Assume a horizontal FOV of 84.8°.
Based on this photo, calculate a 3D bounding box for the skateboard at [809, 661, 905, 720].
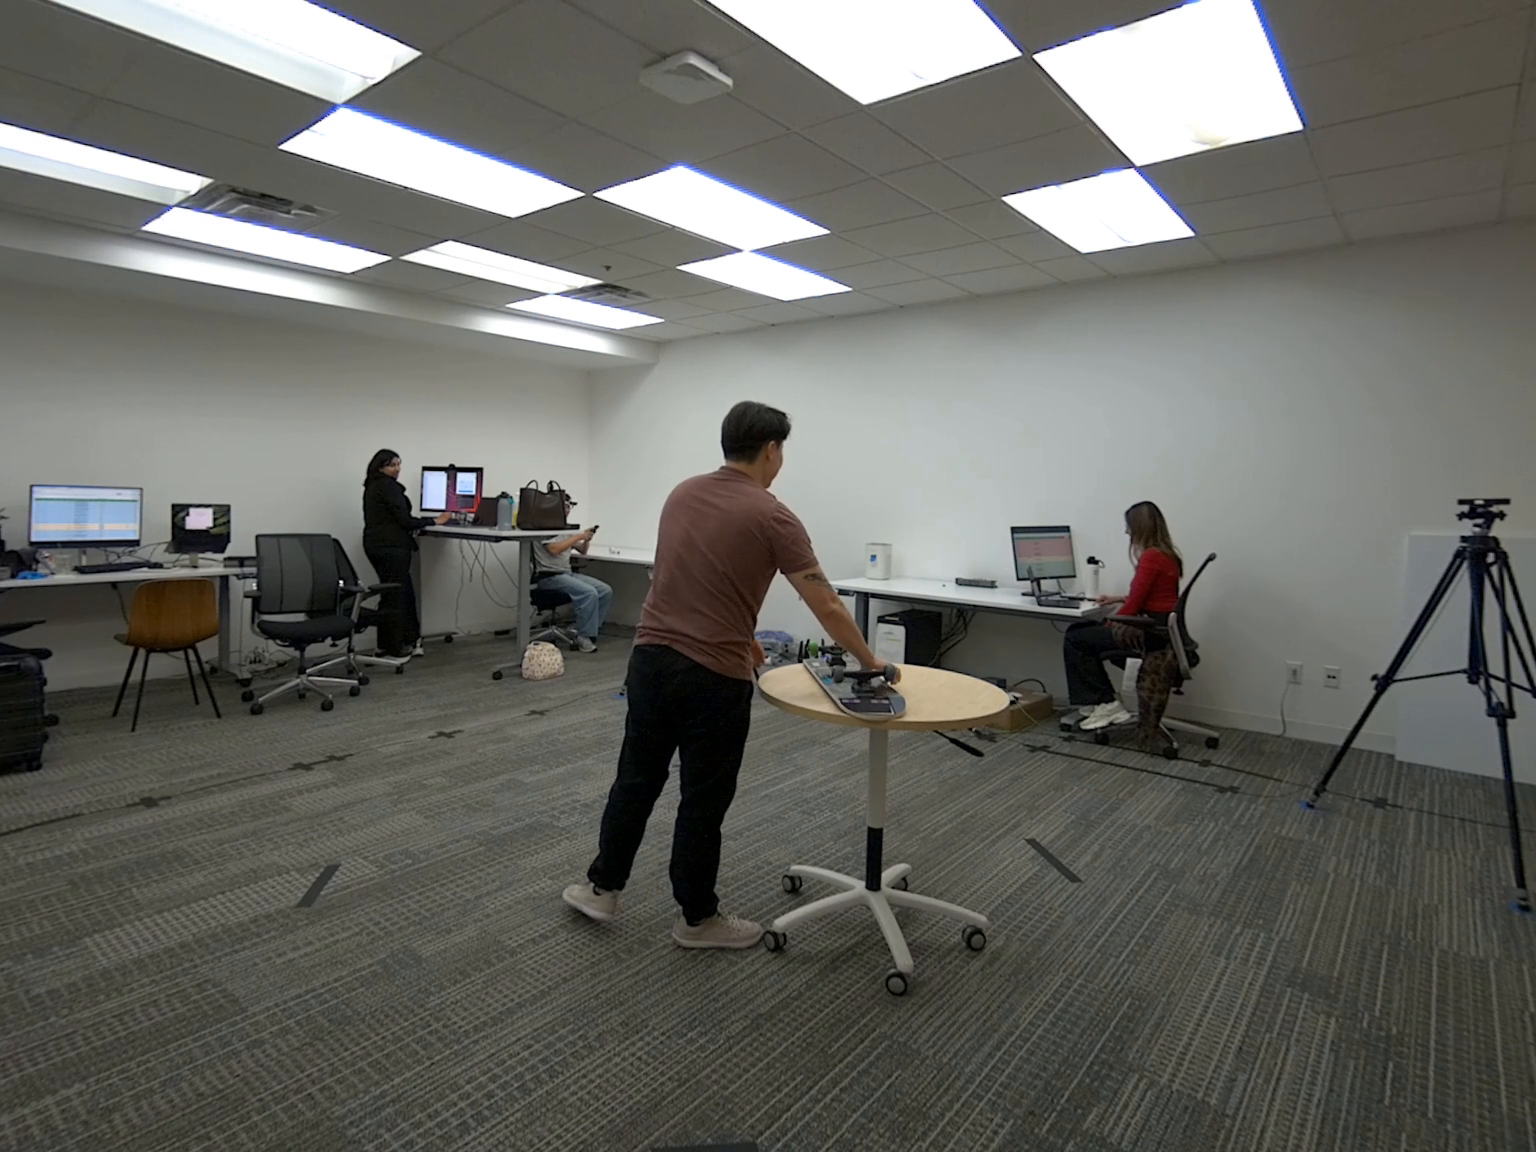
[{"bbox_3d":[0.243,0.299,2.672,0.192,0.110,0.793,-1,6,-7],"label":"skateboard"}]
